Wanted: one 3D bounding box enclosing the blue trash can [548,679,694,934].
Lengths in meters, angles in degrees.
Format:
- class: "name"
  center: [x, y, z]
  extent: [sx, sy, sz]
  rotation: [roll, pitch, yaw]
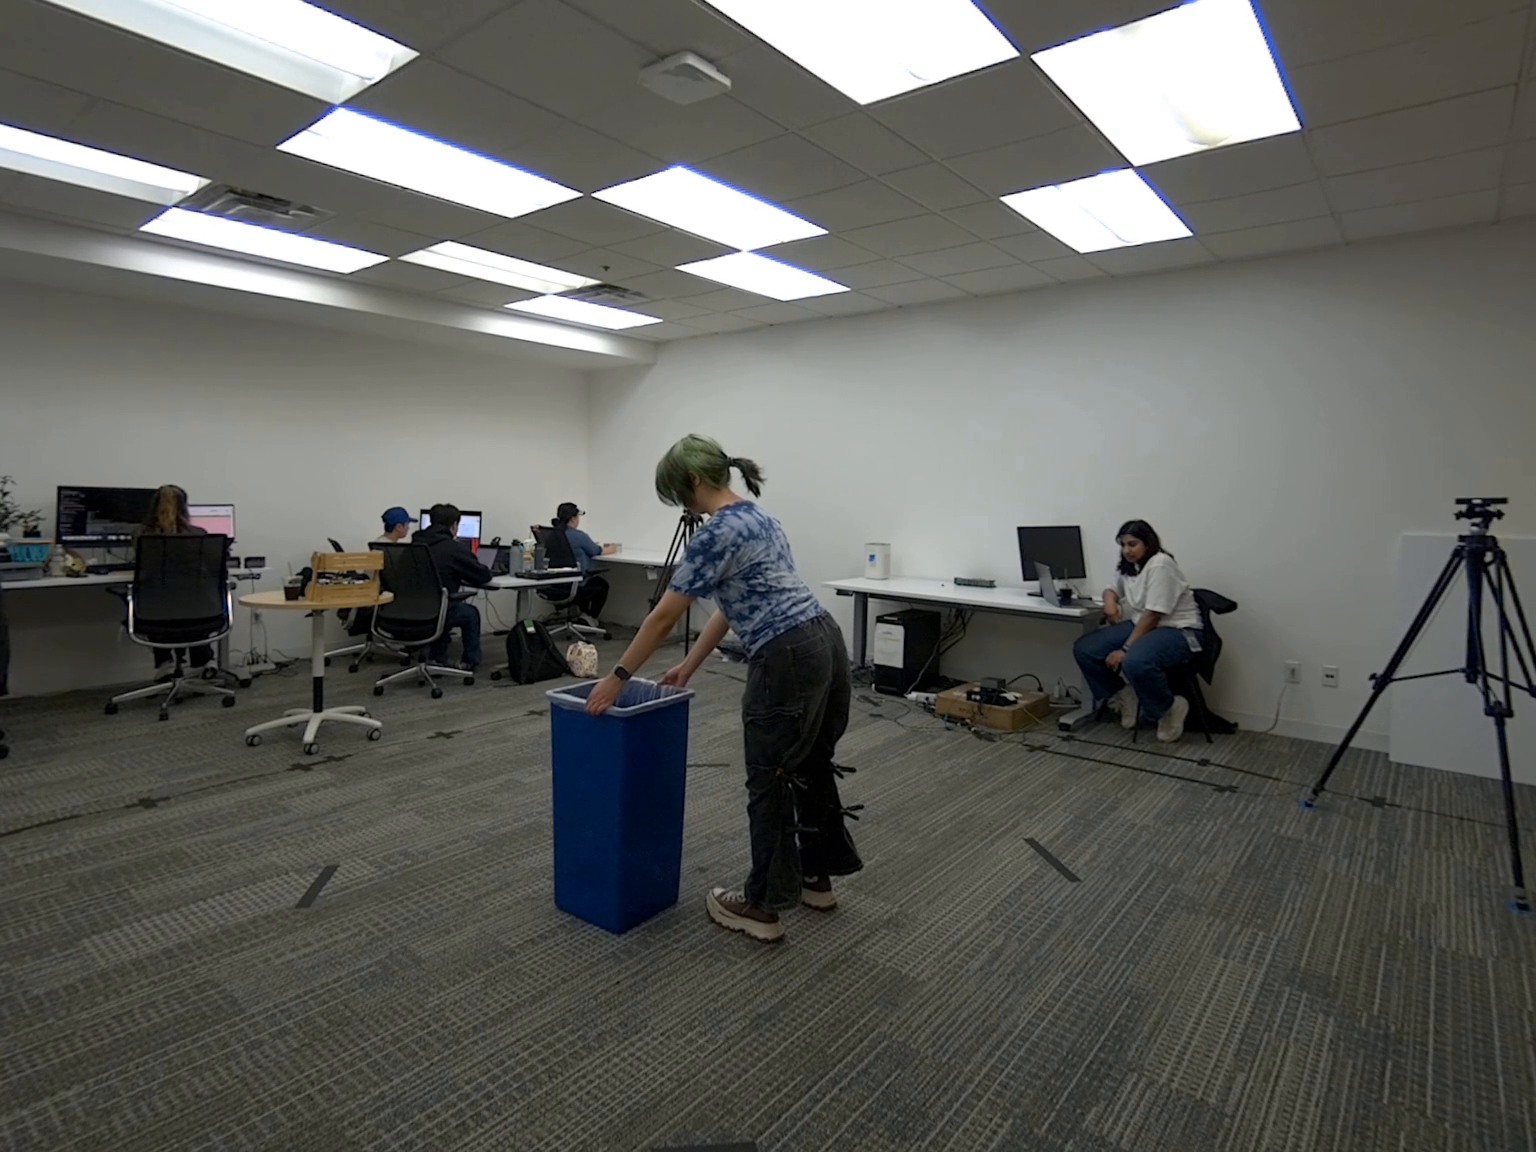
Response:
- class: "blue trash can"
  center: [-0.504, 0.732, 2.823]
  extent: [0.390, 0.712, 0.363]
  rotation: [3, 2, 36]
